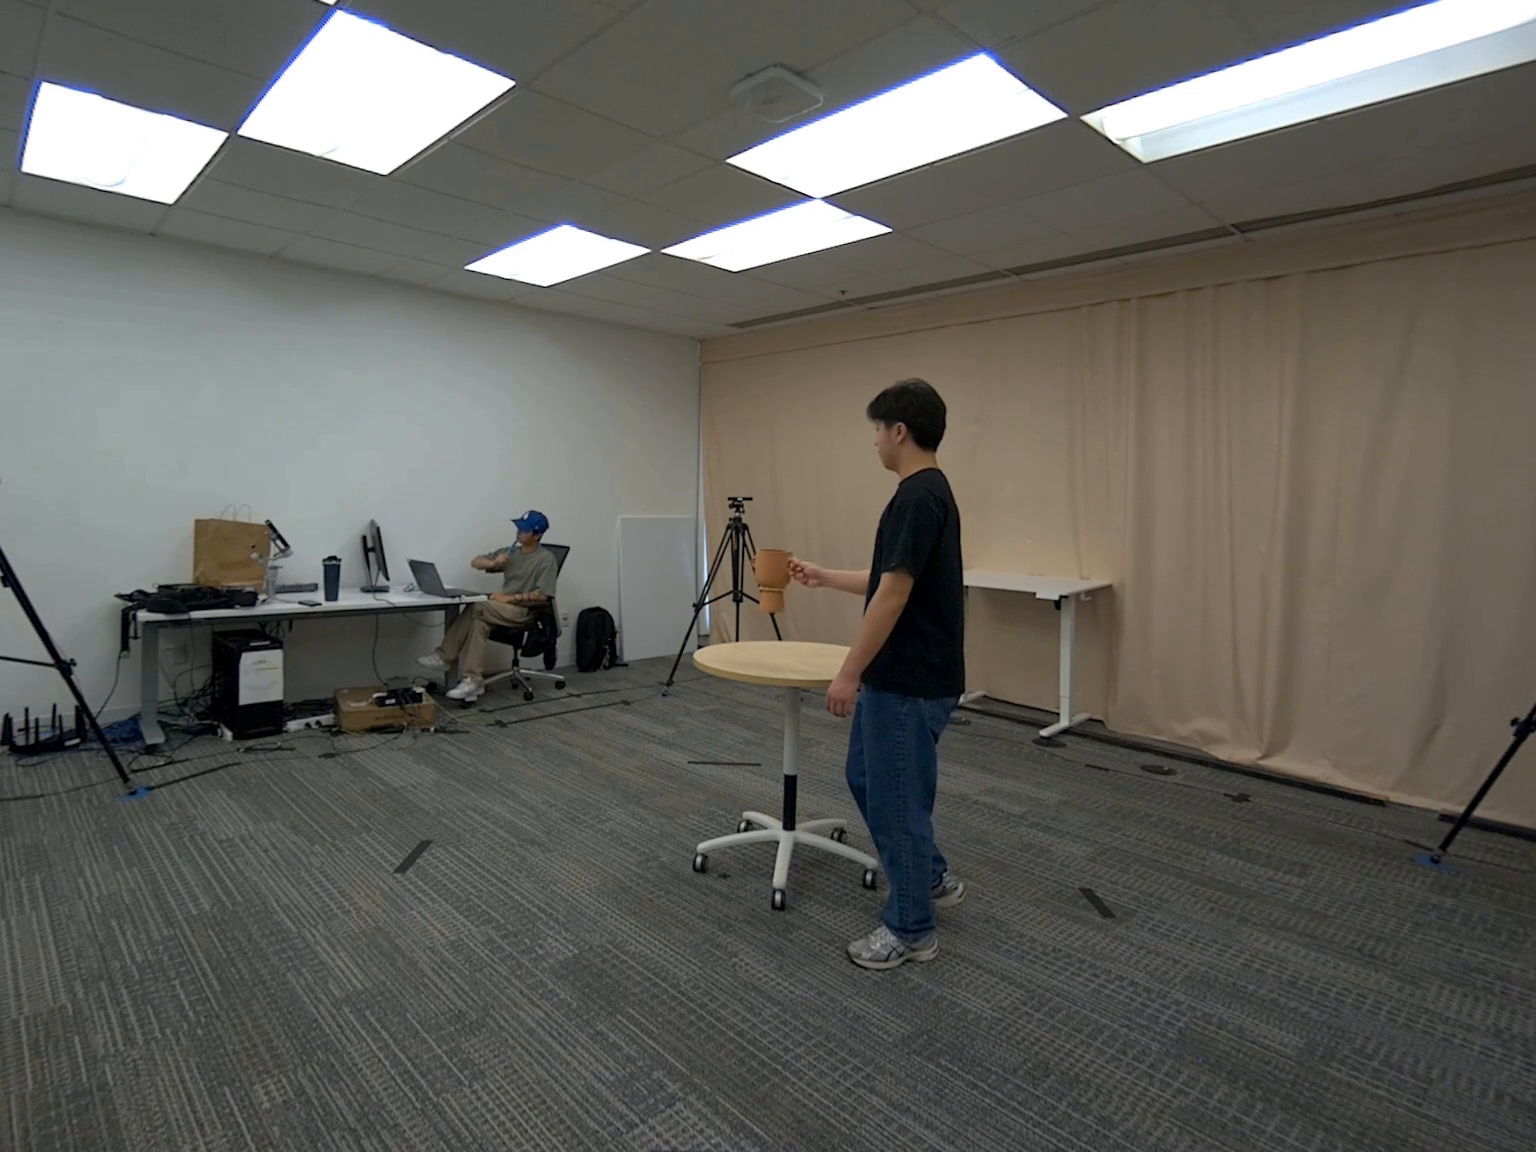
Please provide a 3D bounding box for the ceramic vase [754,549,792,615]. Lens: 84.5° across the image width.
[{"bbox_3d":[0.019,0.020,3.046,0.133,0.219,0.161,6,4,-17],"label":"ceramic vase"}]
